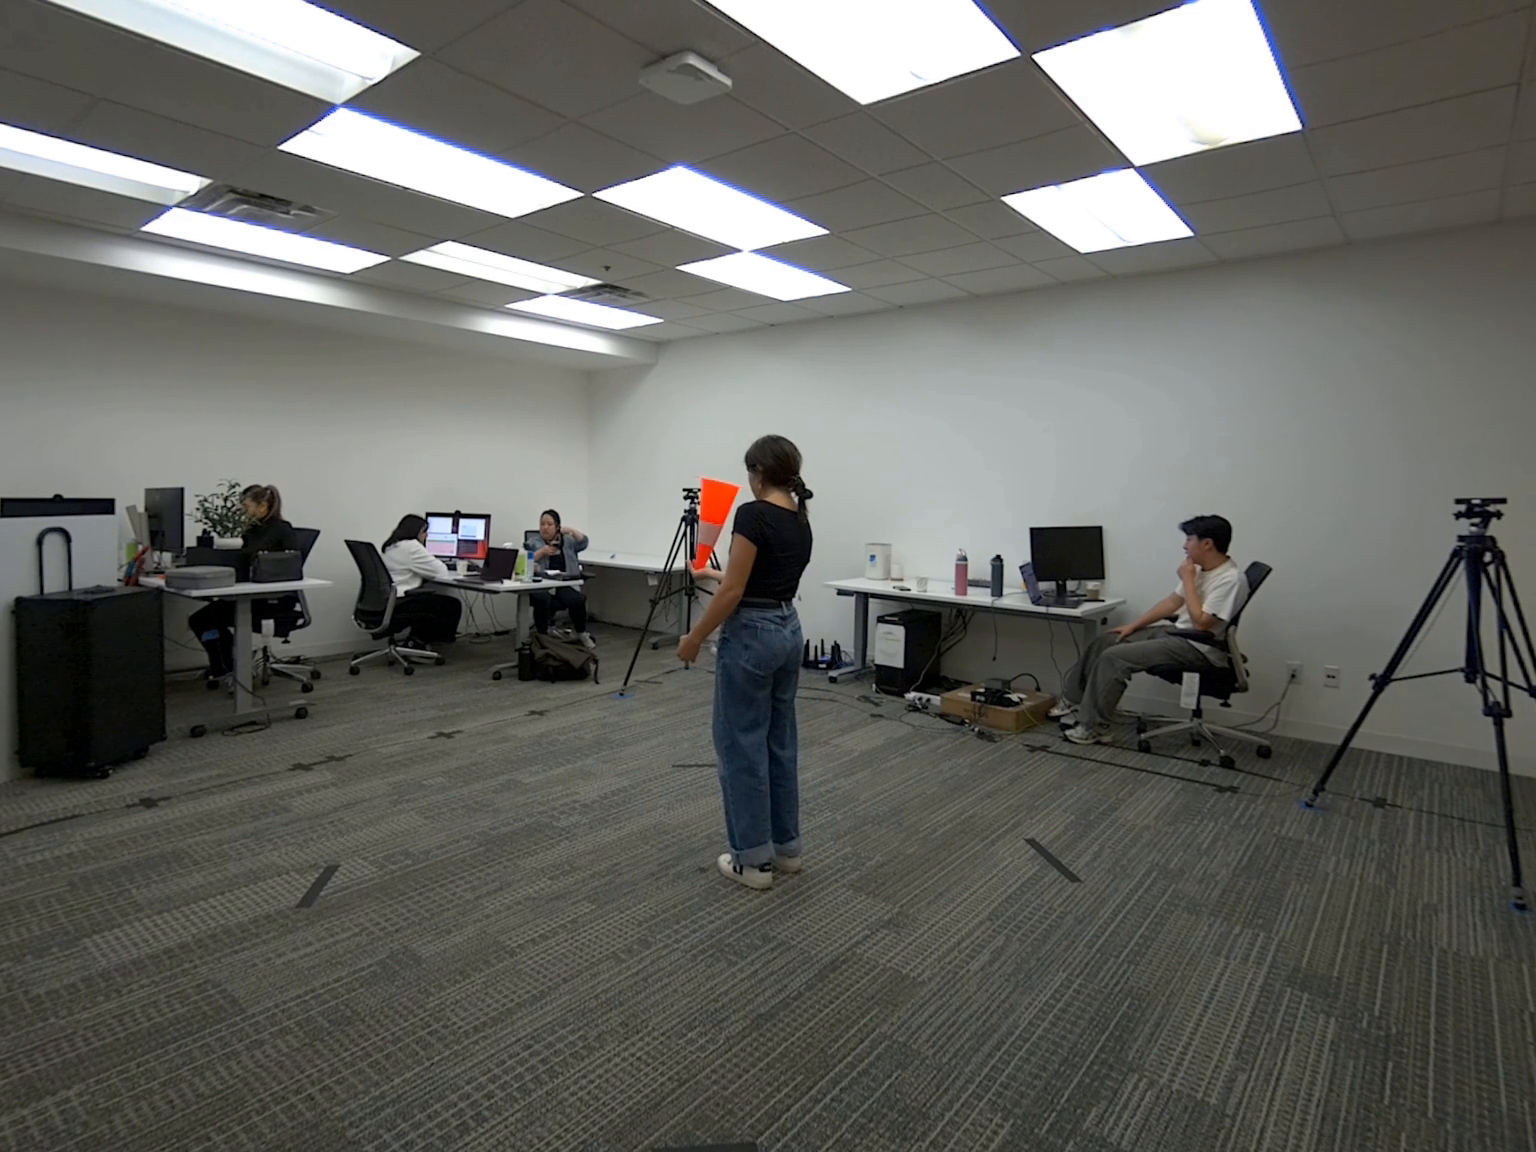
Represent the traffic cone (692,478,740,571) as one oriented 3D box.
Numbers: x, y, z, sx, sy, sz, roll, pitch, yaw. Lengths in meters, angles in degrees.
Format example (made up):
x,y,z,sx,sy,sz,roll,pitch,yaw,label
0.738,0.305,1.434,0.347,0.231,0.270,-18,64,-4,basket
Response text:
x,y,z,sx,sy,sz,roll,pitch,yaw,label
-0.223,-0.191,3.435,0.198,0.383,0.211,11,3,-23,traffic cone
